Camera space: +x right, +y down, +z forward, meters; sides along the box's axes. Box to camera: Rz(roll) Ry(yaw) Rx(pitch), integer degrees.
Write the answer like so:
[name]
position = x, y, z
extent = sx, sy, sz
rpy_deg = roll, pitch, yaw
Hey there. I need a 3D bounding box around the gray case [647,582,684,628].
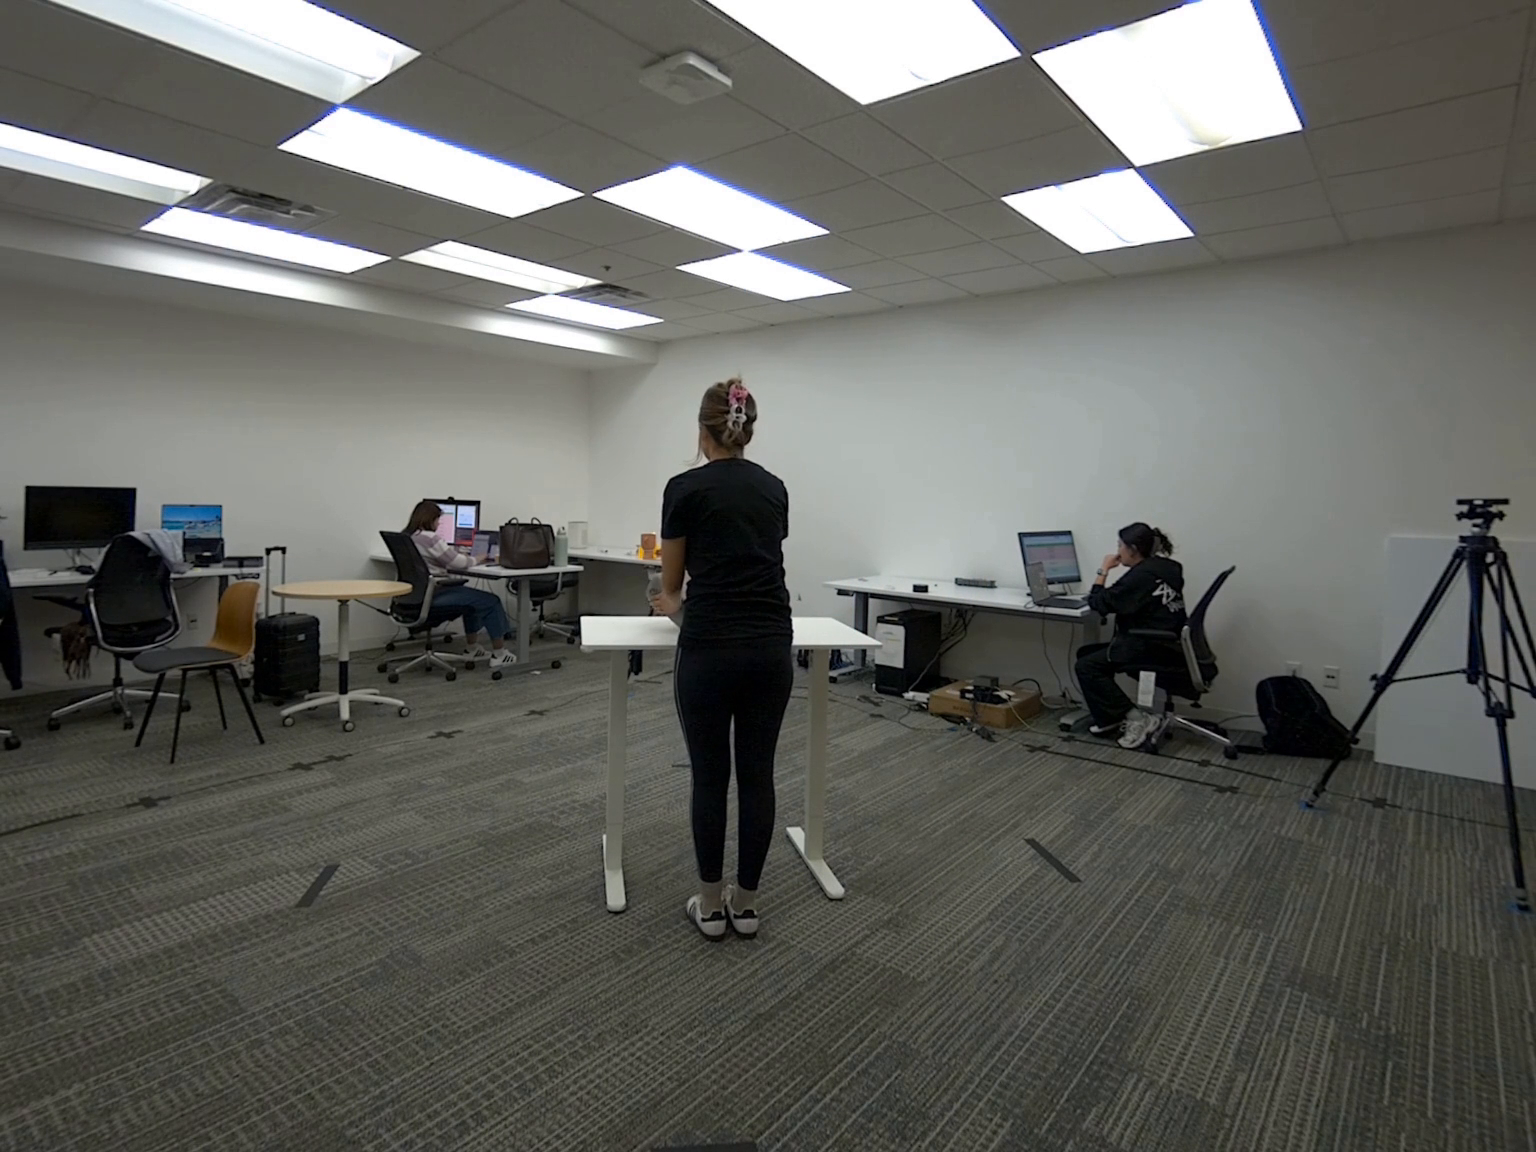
[gray case]
position = -0.282, 0.090, 3.073
extent = 0.270, 0.103, 0.249
rpy_deg = 37, 23, 28
